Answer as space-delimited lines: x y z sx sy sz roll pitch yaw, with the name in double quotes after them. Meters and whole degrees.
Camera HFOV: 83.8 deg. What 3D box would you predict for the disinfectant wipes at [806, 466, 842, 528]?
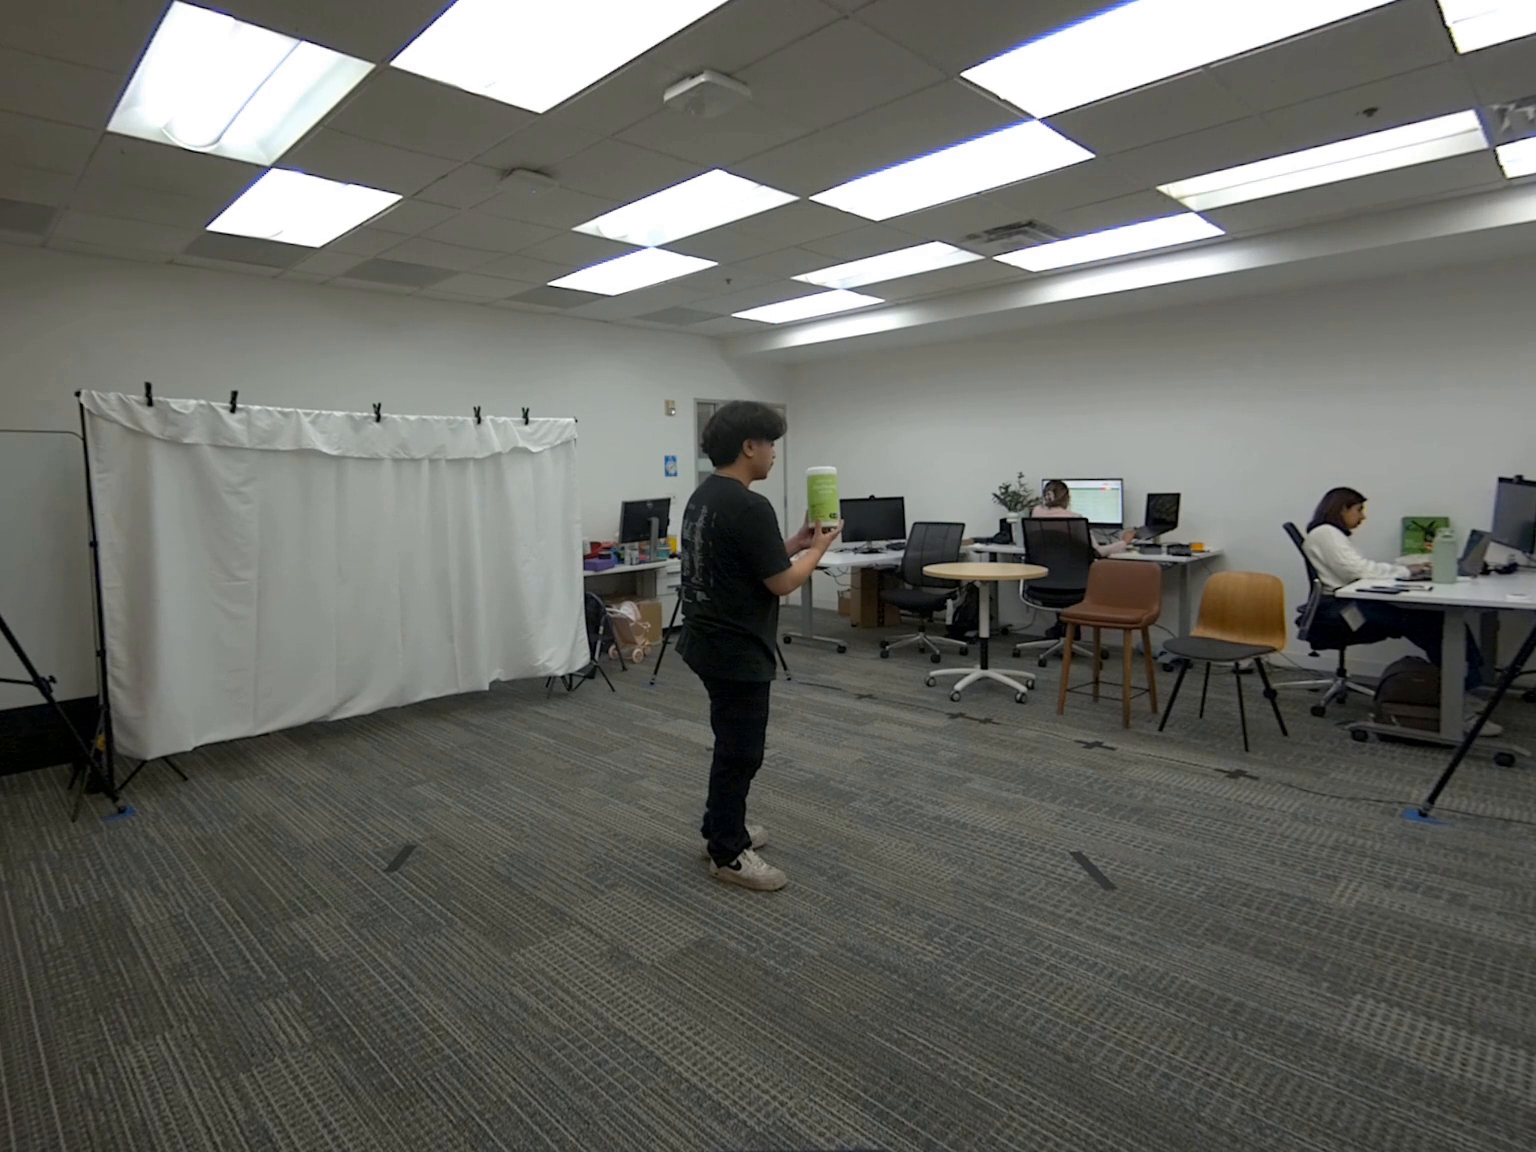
0.195 -0.275 3.048 0.118 0.218 0.117 -3 -2 -2 "disinfectant wipes"
